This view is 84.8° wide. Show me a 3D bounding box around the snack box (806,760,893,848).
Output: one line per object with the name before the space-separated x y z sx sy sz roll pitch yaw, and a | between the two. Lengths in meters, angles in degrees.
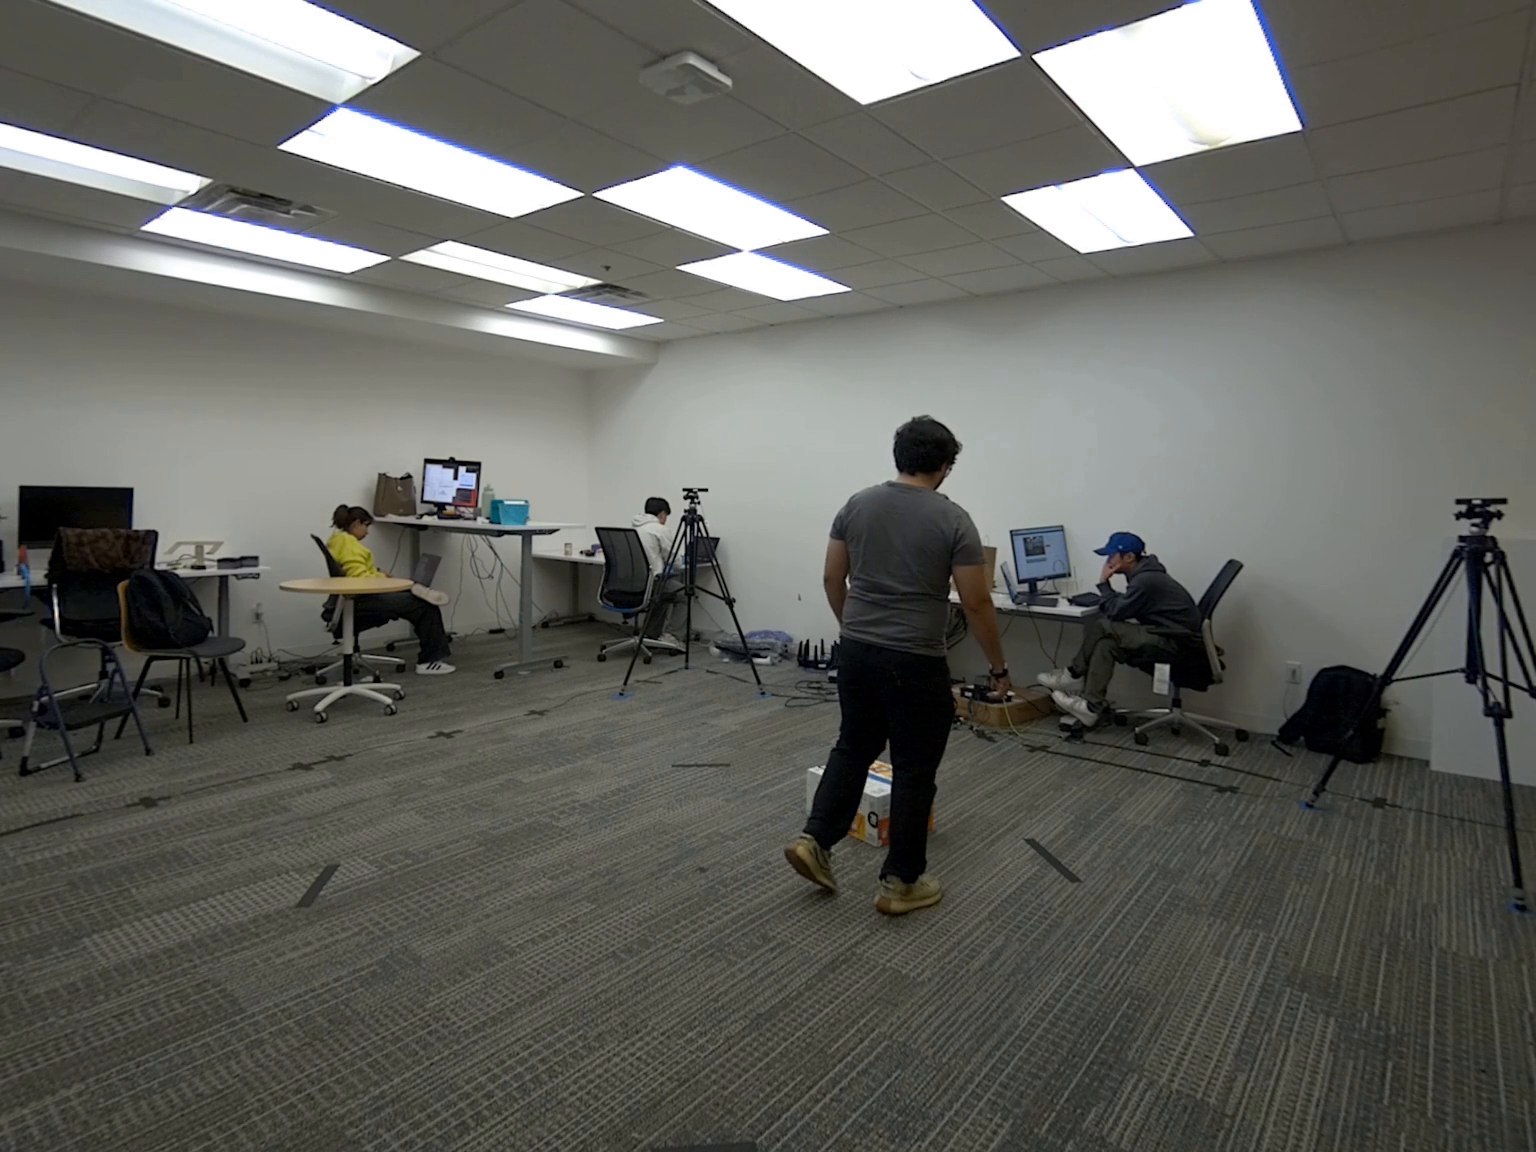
snack box | 0.418 0.932 3.586 0.330 0.205 0.419 -3 7 -39
